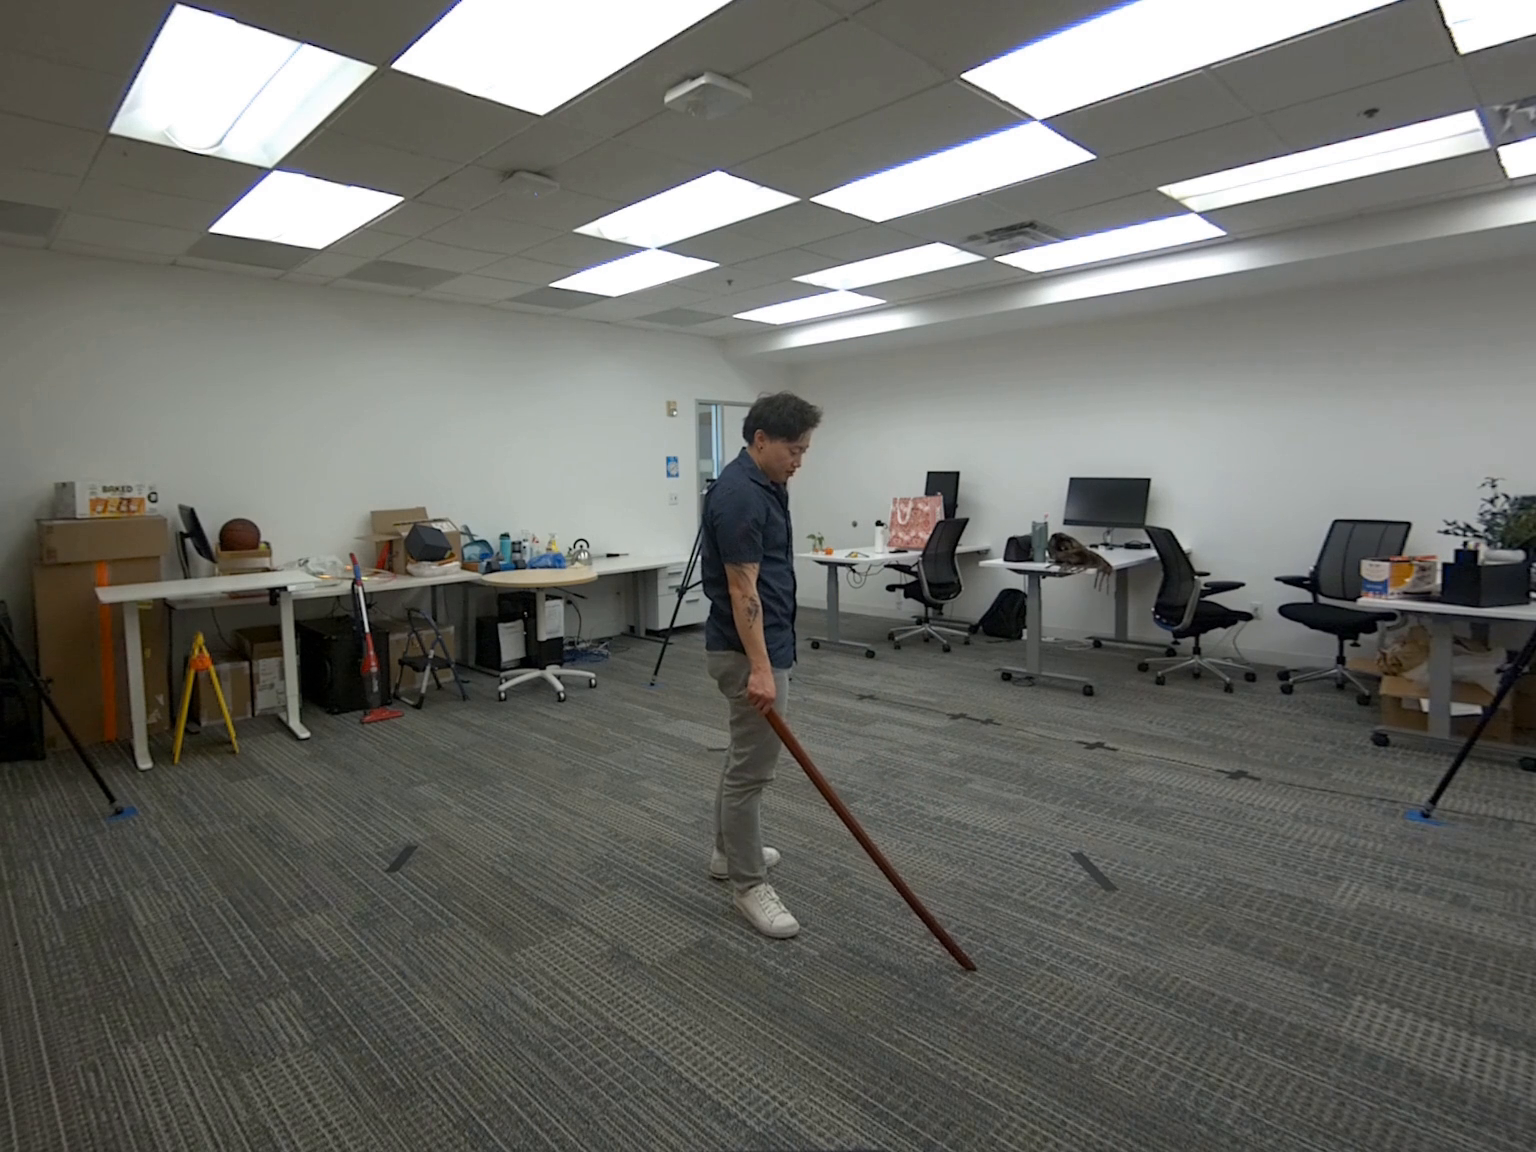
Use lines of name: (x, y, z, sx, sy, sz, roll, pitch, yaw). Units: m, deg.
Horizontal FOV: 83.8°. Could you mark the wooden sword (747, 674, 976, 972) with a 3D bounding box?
wooden sword: (0.264, 0.724, 2.469, 0.024, 1.033, 0.051, -37, -6, -16)
